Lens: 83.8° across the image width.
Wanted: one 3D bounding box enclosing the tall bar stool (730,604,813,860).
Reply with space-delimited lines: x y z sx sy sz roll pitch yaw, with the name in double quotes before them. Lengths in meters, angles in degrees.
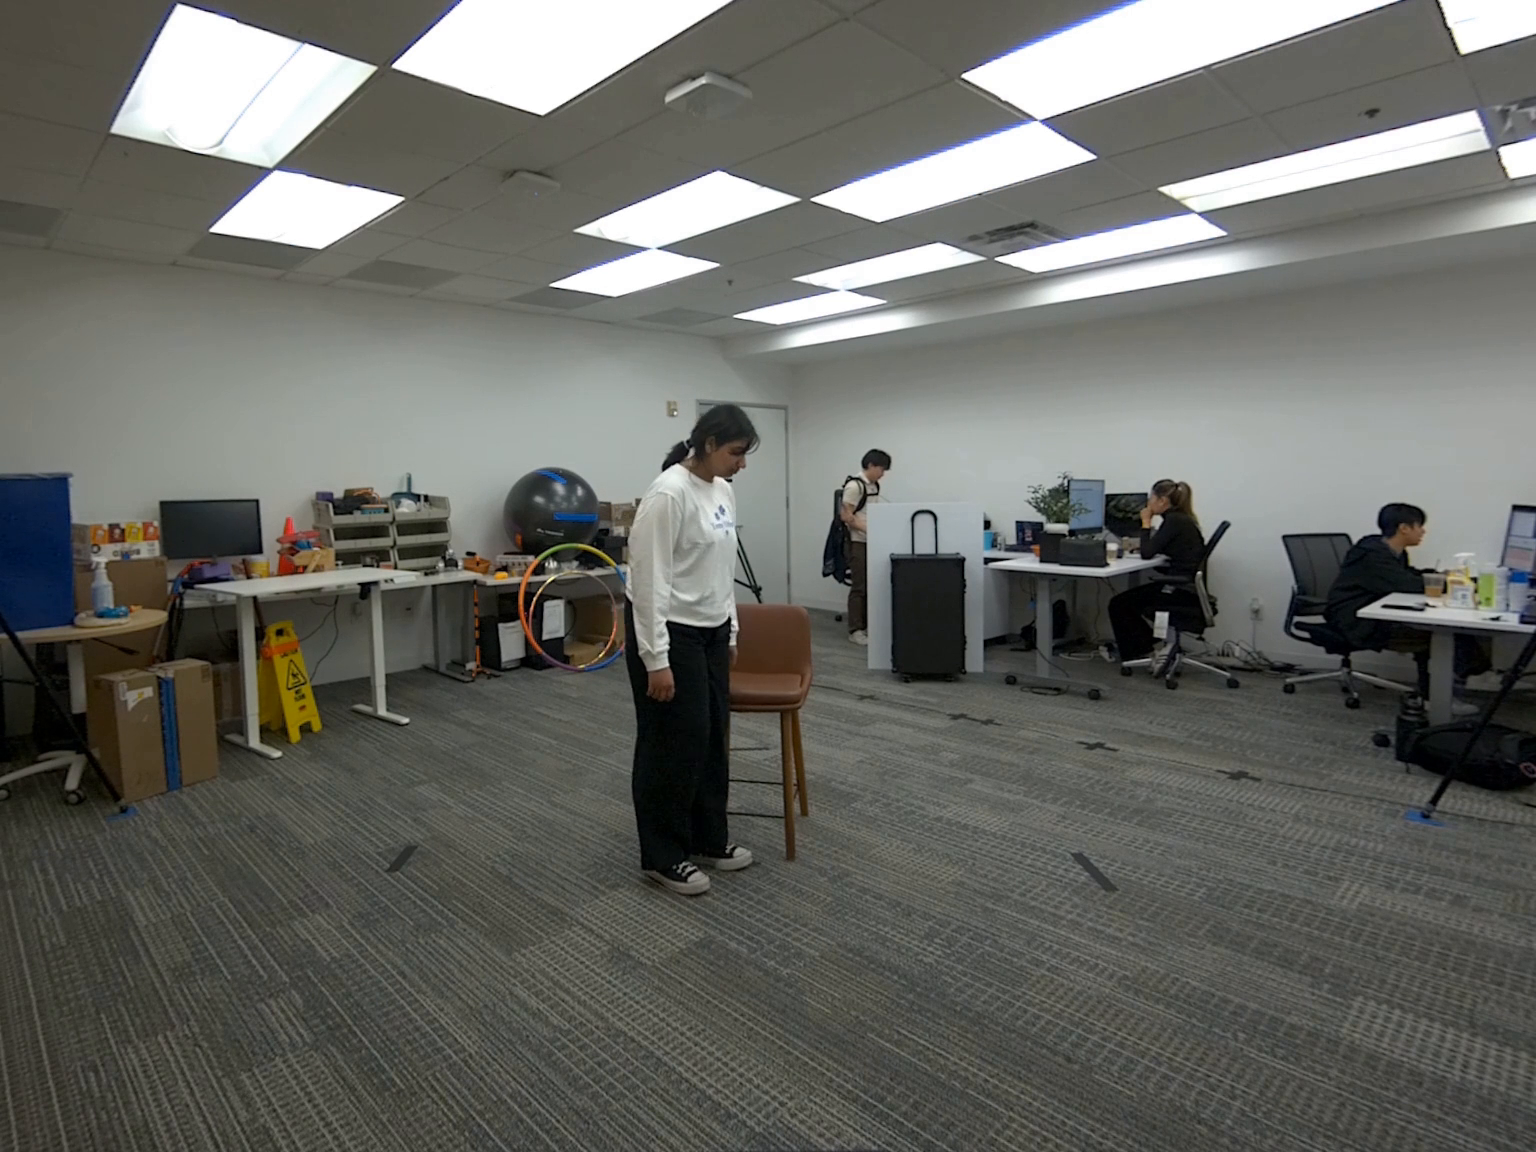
"tall bar stool" -0.061 0.580 3.369 0.463 0.888 0.462 0 2 14
